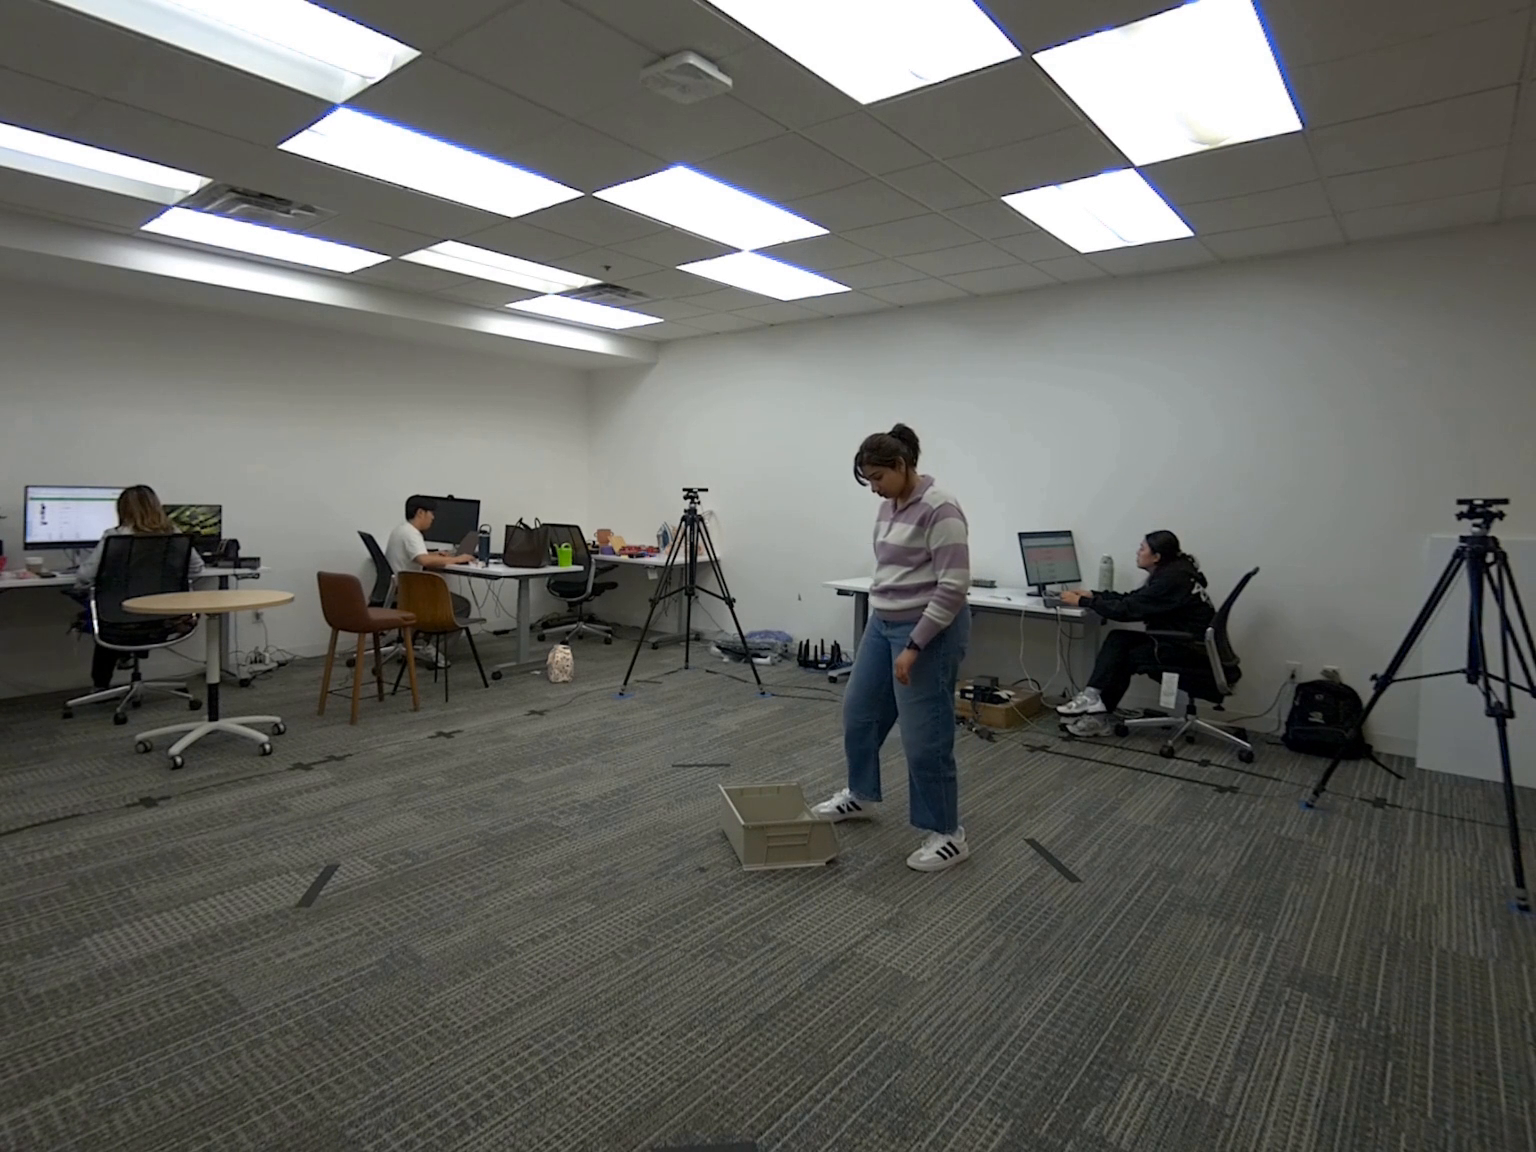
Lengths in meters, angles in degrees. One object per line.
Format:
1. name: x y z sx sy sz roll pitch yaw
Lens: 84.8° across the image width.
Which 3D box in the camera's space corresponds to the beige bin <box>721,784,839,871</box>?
1. beige bin: 0.027 0.963 3.335 0.372 0.188 0.430 -1 7 -14
